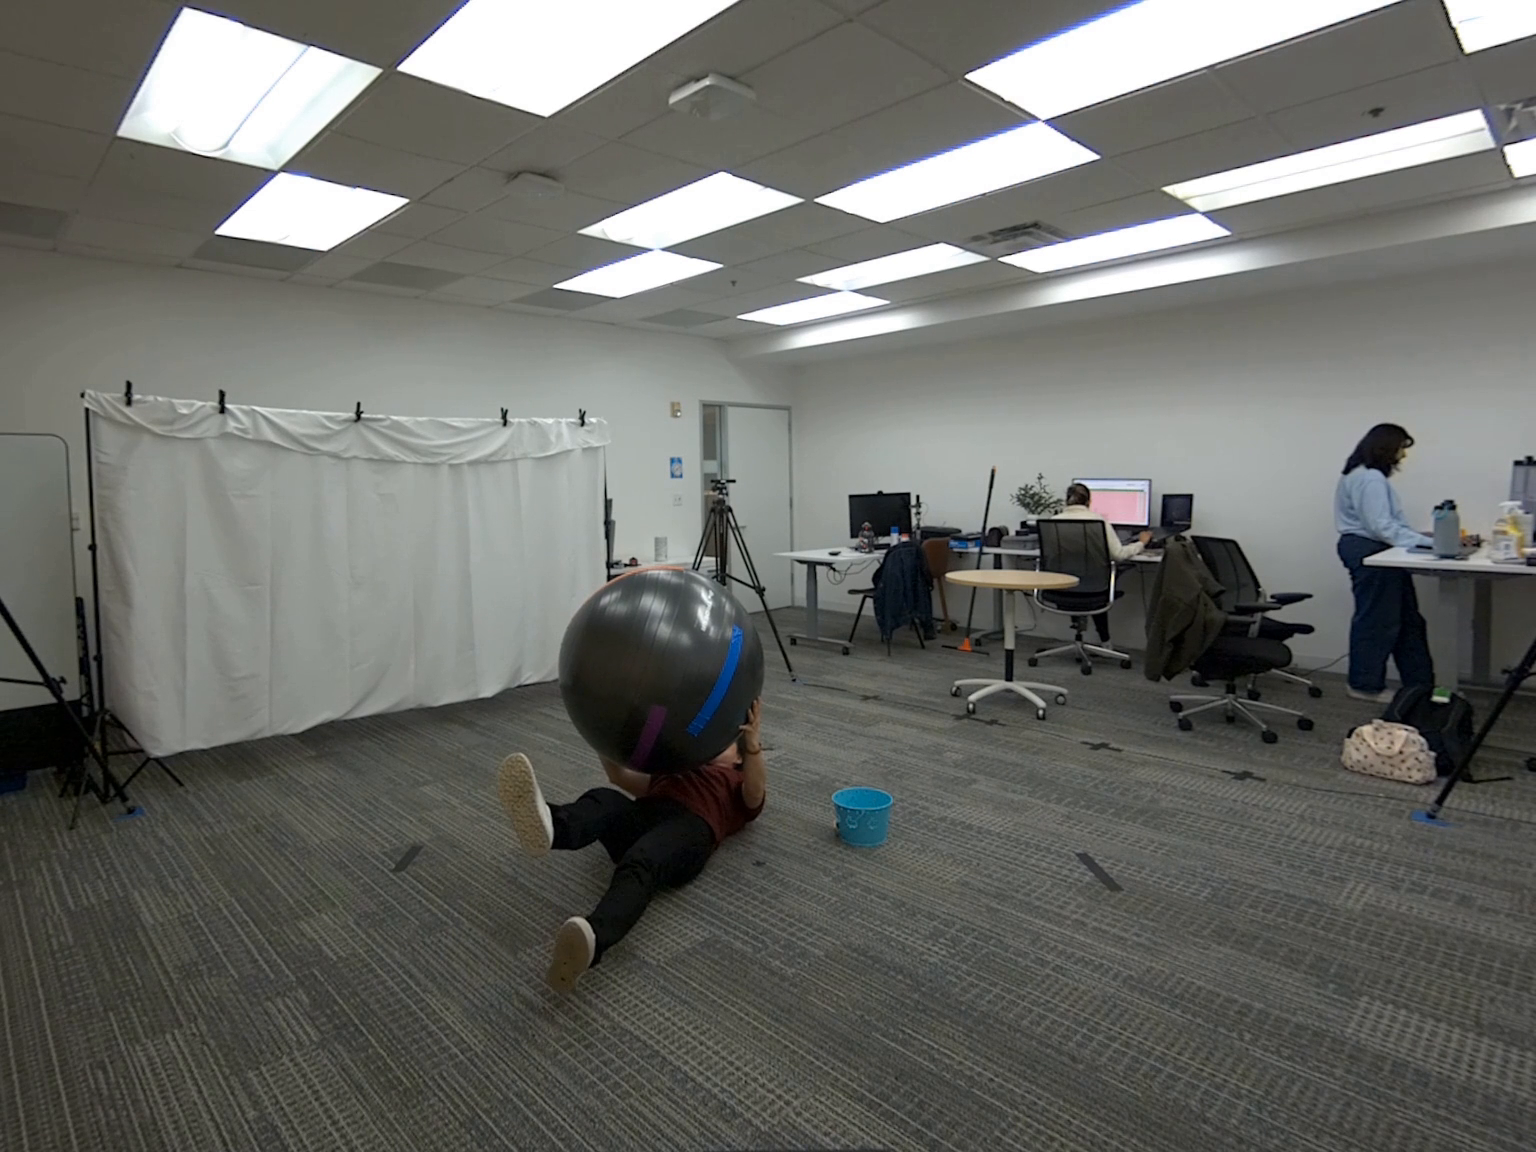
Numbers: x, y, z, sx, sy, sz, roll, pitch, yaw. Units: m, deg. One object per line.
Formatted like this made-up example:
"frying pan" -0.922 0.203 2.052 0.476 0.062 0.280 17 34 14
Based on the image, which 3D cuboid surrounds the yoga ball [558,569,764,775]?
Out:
"yoga ball" -0.396 0.347 3.178 0.757 0.755 0.762 -1 5 -2
